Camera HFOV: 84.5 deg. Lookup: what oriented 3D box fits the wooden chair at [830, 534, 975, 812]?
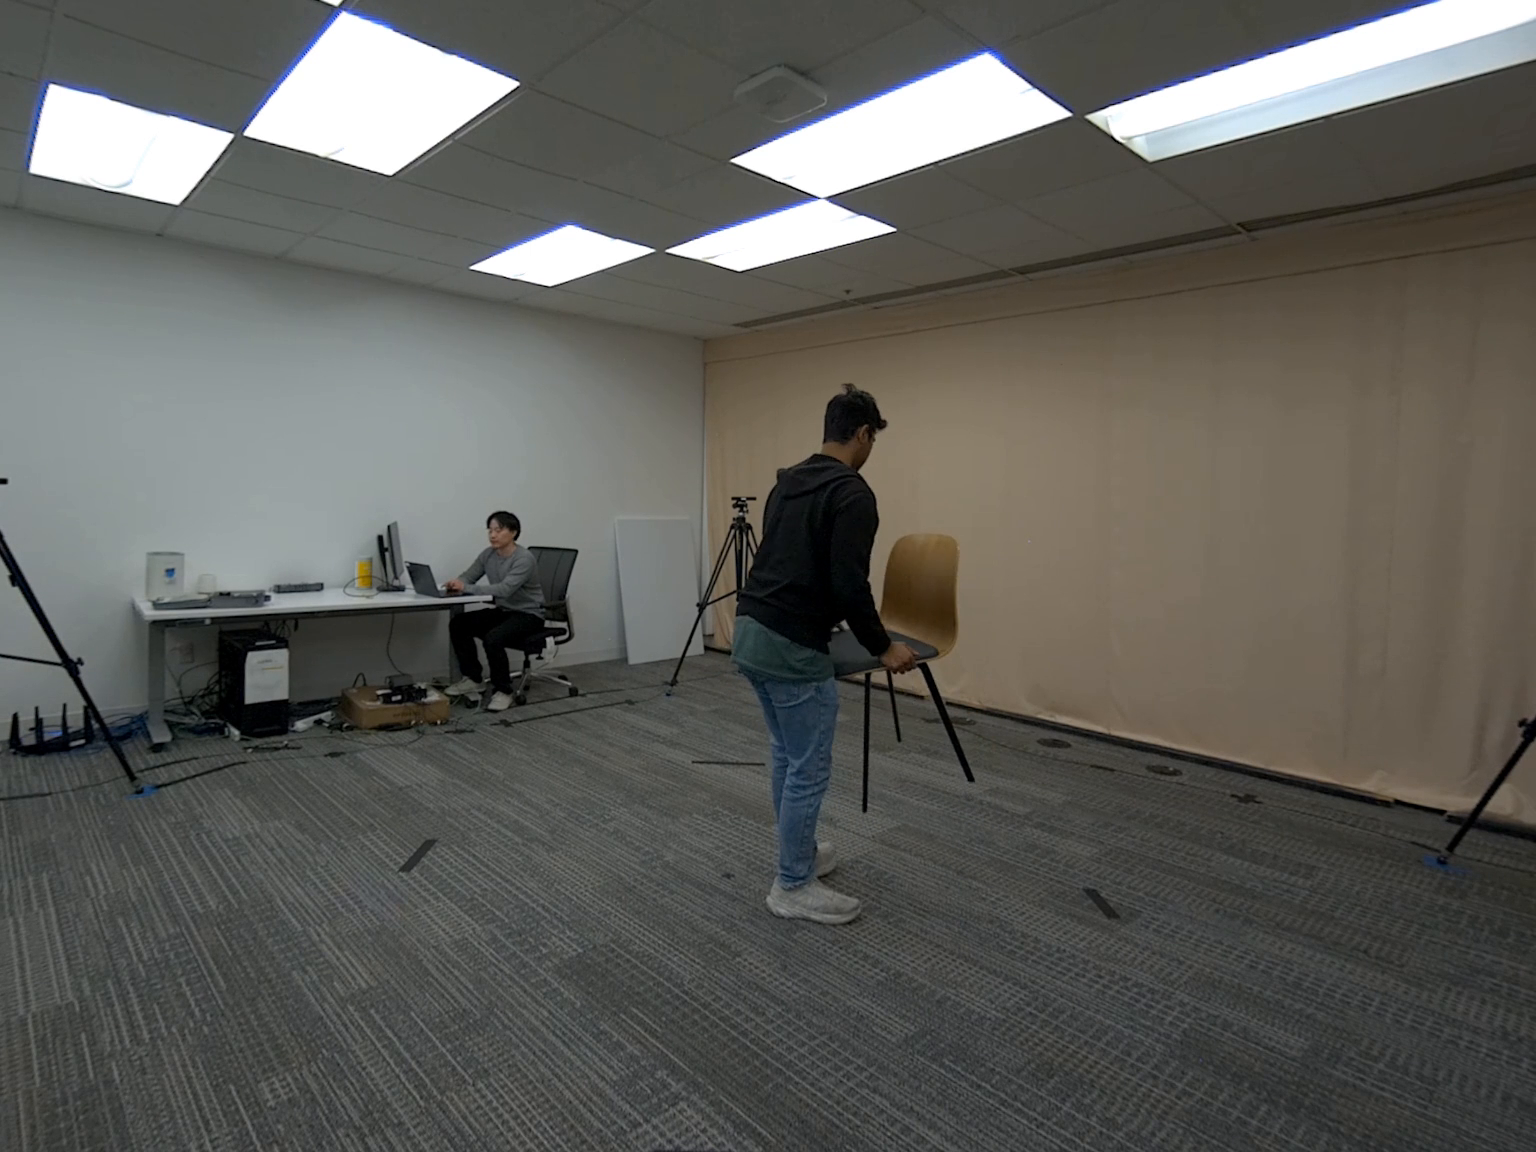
[{"bbox_3d":[0.372,0.302,2.977,0.514,0.872,0.489,-4,8,-24],"label":"wooden chair"}]
